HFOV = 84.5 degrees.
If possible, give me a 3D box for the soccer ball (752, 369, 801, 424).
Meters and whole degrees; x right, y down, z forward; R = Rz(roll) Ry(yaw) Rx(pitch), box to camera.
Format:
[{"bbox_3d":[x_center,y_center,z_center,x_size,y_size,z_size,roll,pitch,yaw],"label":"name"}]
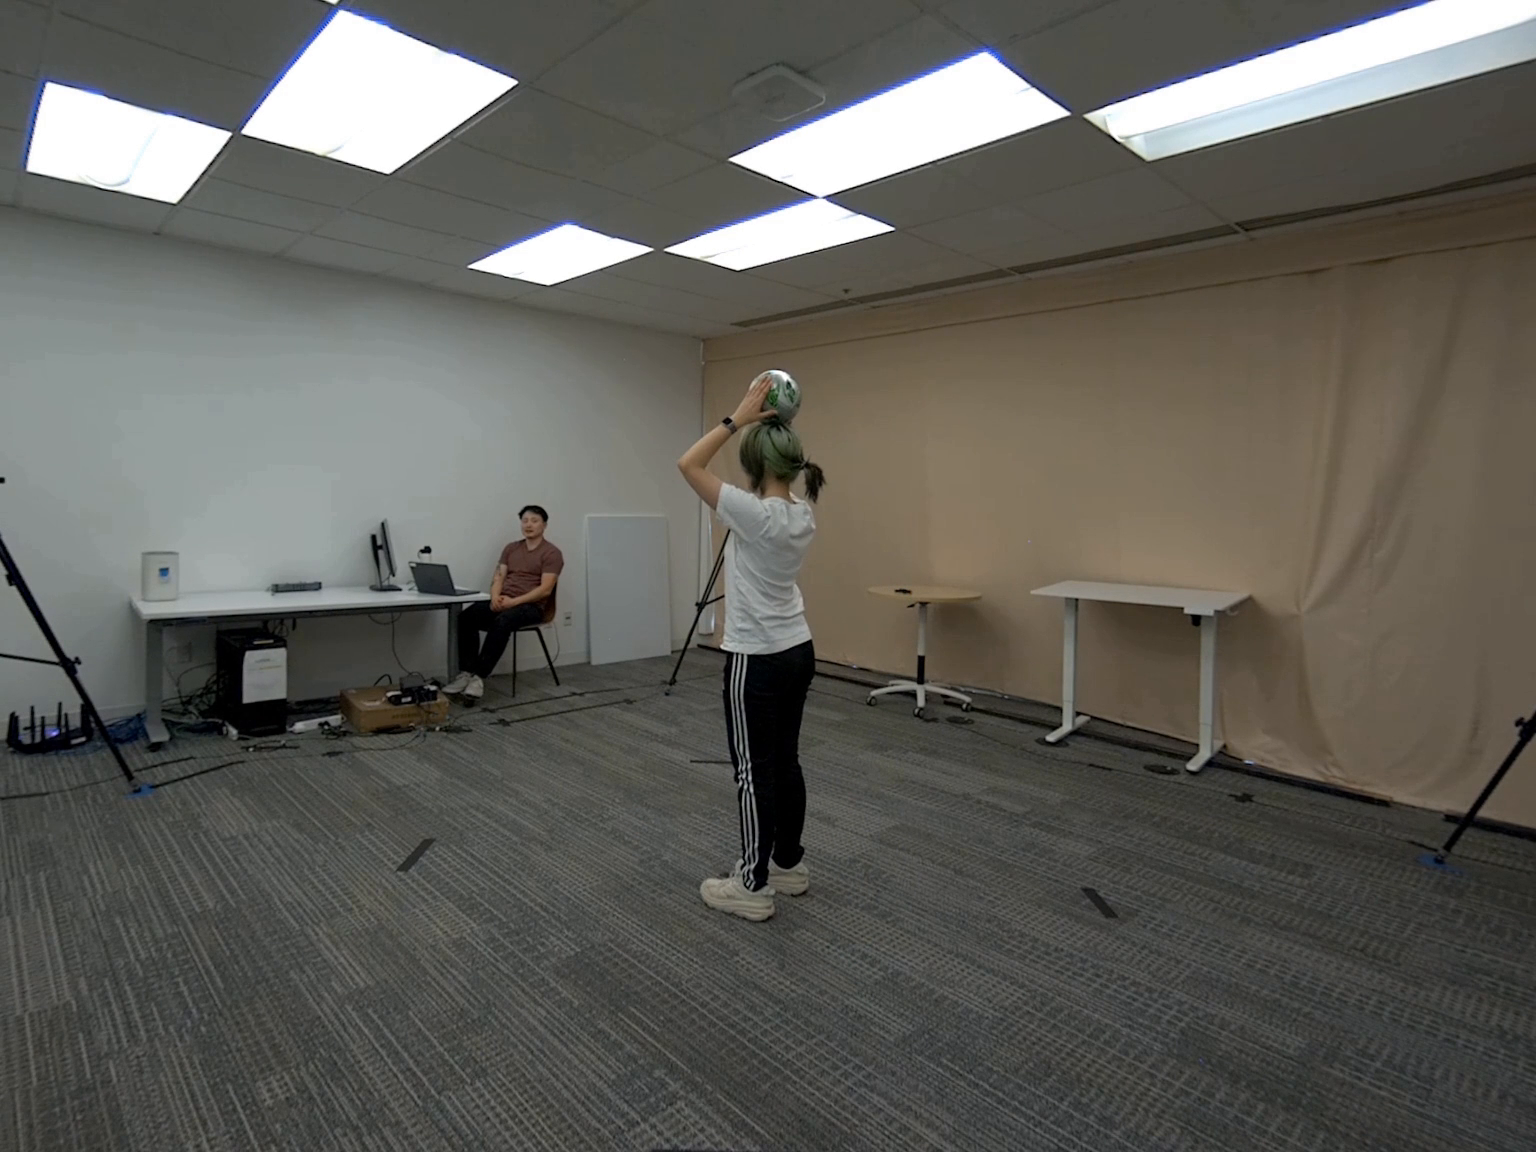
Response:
[{"bbox_3d":[0.017,-0.602,2.858,0.187,0.187,0.188,1,4,-1],"label":"soccer ball"}]
